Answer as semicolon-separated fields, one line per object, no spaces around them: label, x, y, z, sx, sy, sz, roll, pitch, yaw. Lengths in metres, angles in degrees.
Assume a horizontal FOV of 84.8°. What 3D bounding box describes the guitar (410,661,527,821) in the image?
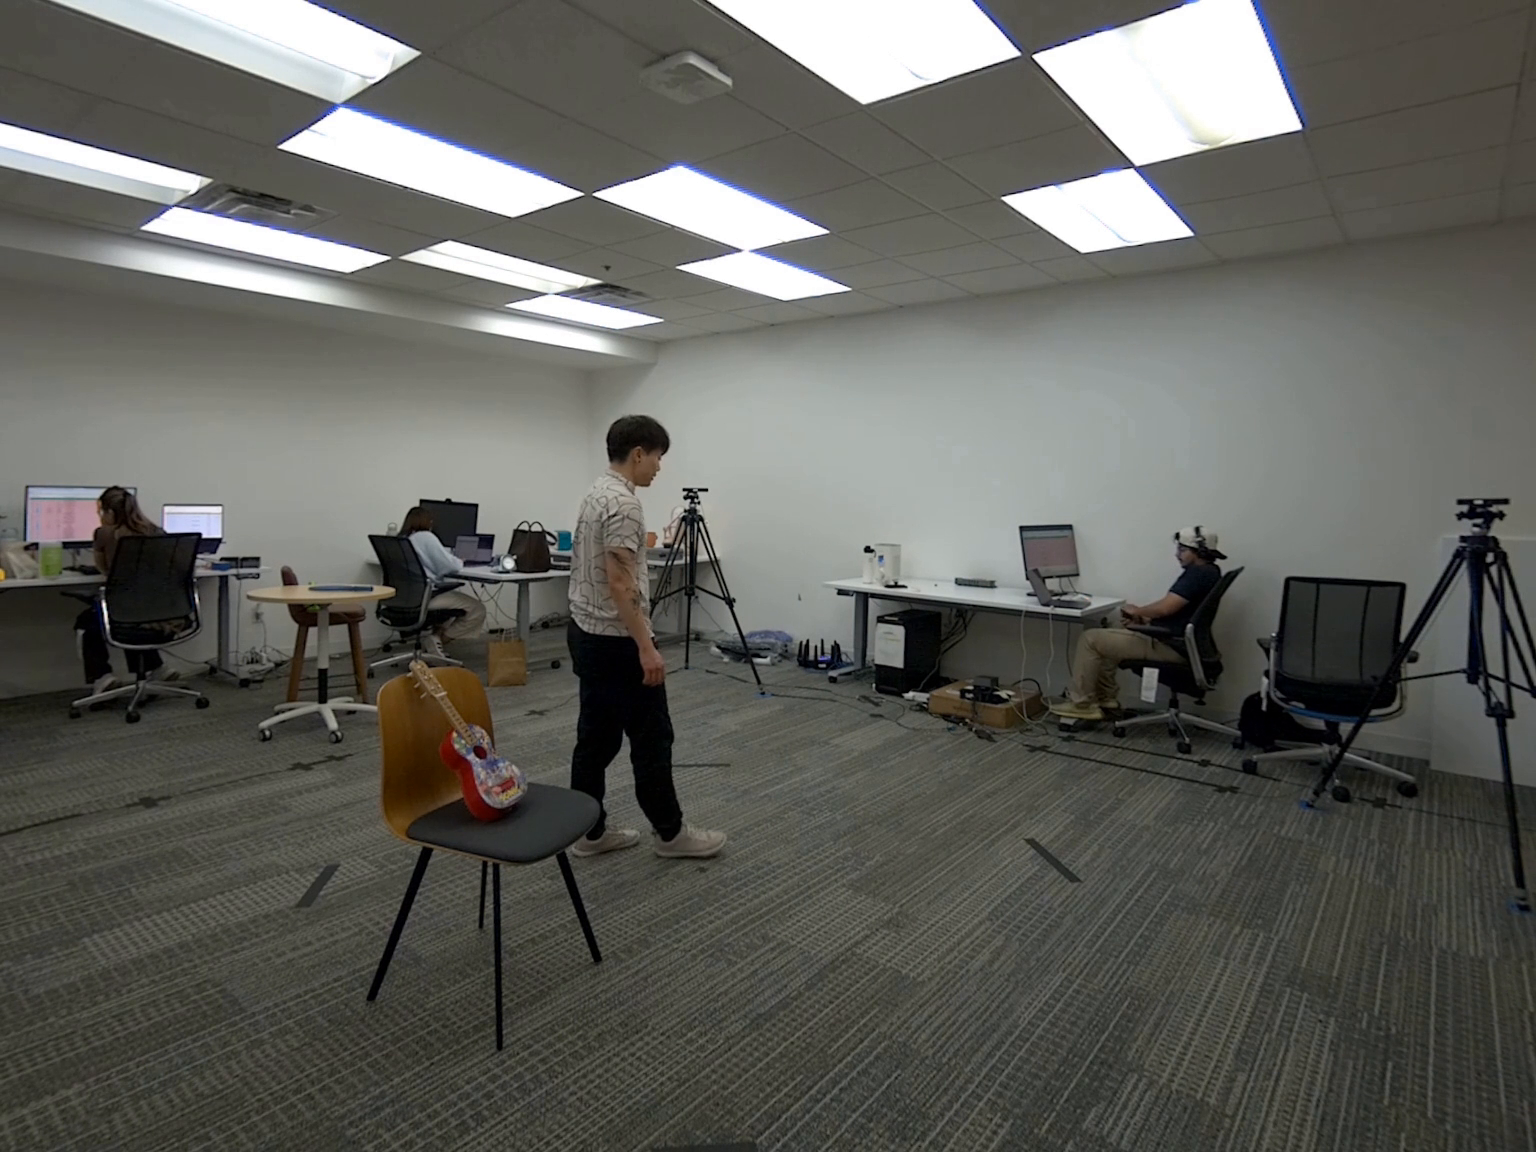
guitar;-0.872;0.452;2.421;0.071;0.511;0.188;-42;-19;17
